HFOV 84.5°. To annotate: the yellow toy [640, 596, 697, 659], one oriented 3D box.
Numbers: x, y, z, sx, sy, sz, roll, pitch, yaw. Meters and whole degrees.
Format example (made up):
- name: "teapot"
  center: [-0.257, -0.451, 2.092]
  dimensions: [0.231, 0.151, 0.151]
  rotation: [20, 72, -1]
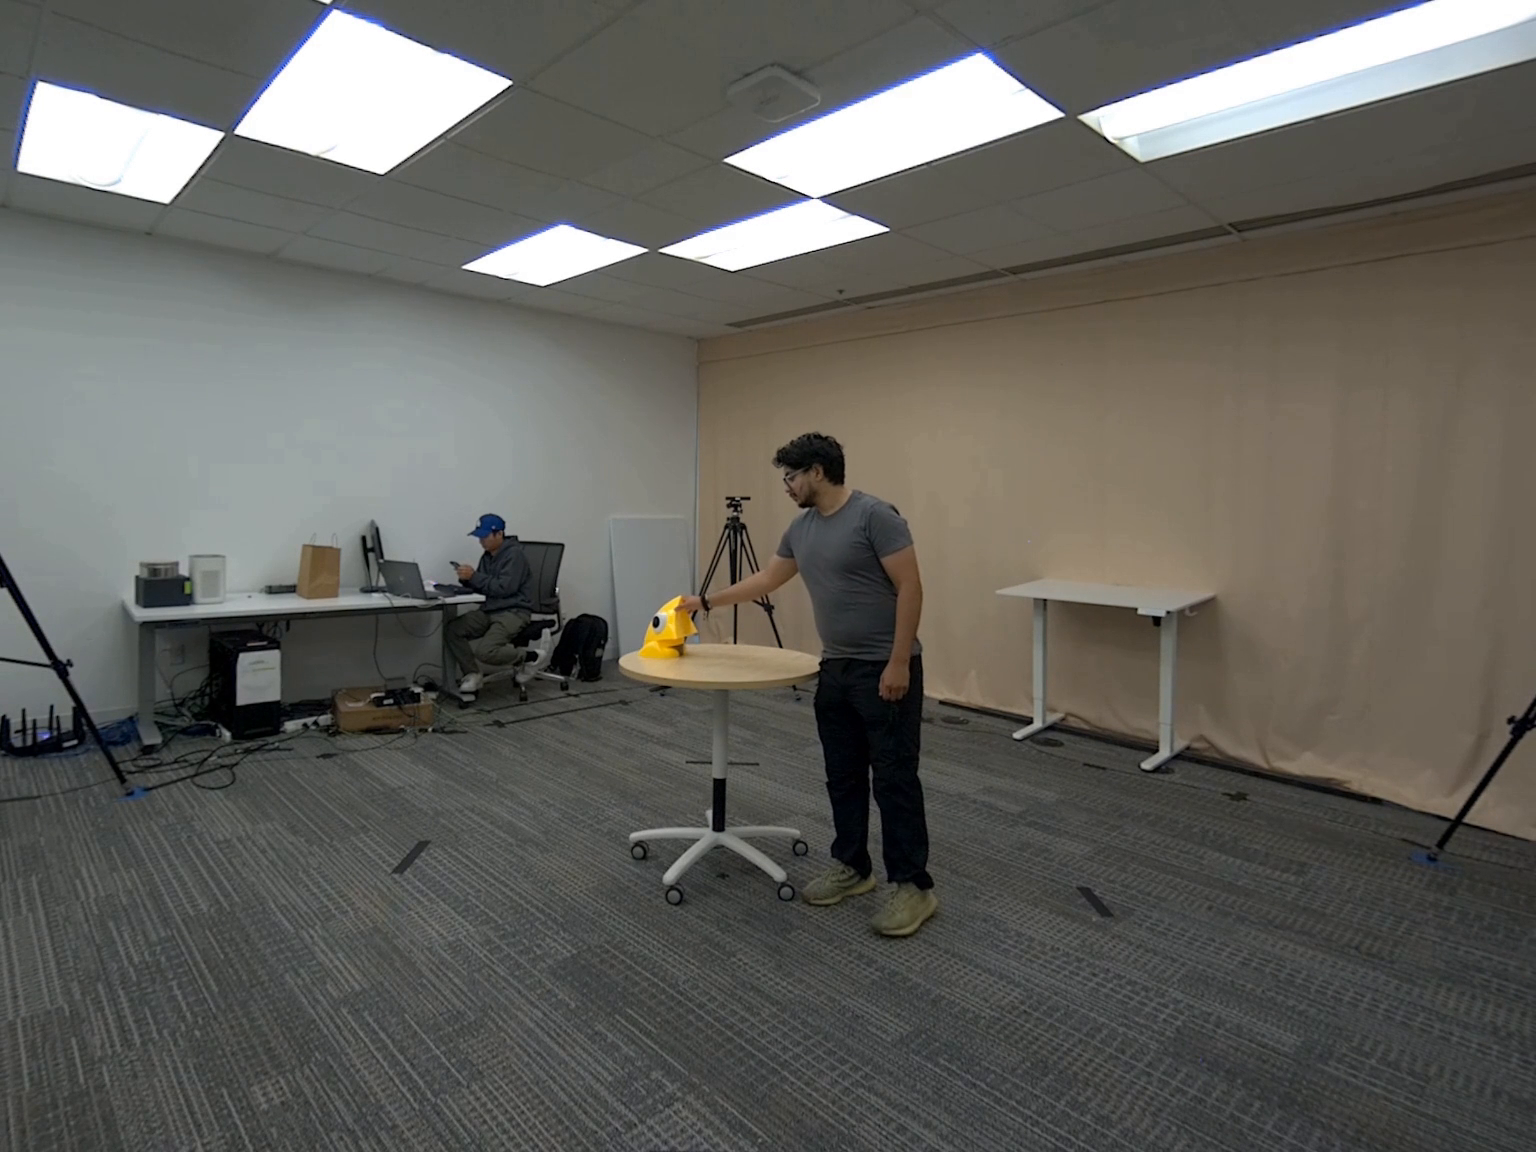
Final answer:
- name: "yellow toy"
  center: [-0.398, 0.189, 3.265]
  dimensions: [0.196, 0.230, 0.202]
  rotation: [5, 4, 20]
